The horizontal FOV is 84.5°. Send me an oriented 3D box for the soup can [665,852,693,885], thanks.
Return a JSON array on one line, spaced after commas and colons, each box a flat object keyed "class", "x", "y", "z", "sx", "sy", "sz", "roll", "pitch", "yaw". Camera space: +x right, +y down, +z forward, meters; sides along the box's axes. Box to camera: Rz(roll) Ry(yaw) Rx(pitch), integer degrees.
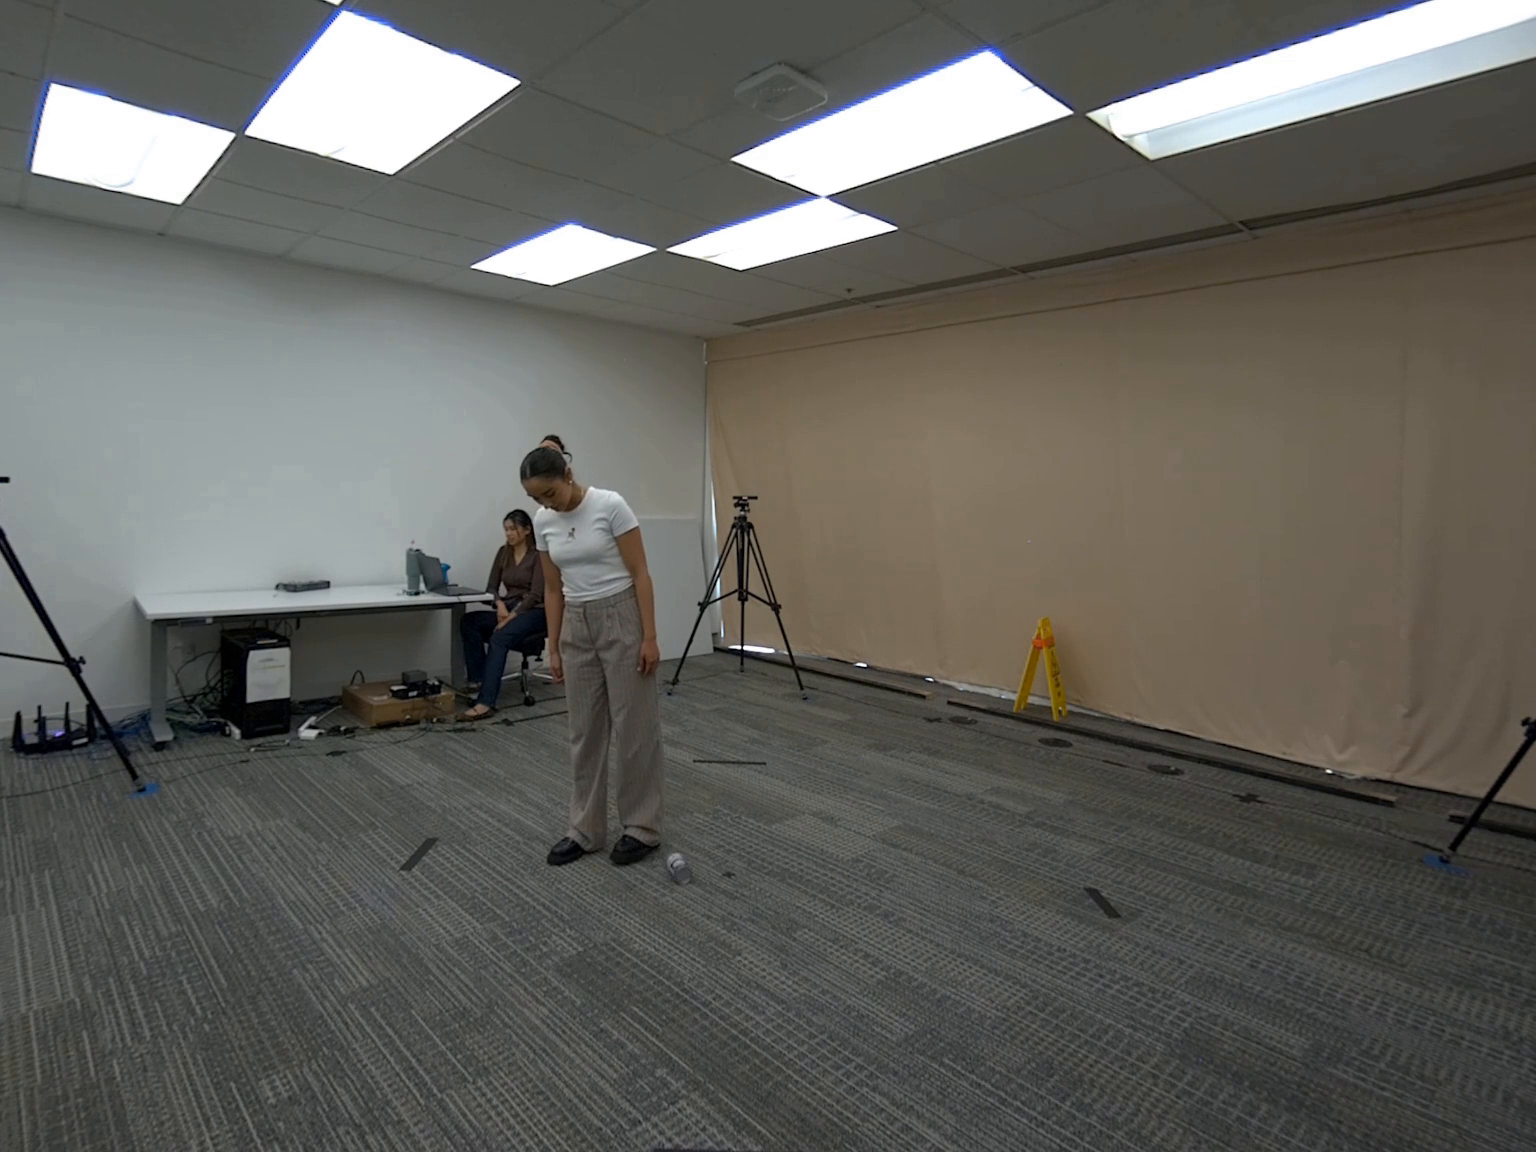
[{"class": "soup can", "x": -0.336, "y": 1.061, "z": 3.069, "sx": 0.066, "sy": 0.067, "sz": 0.123, "roll": 1, "pitch": 7, "yaw": -11}]
